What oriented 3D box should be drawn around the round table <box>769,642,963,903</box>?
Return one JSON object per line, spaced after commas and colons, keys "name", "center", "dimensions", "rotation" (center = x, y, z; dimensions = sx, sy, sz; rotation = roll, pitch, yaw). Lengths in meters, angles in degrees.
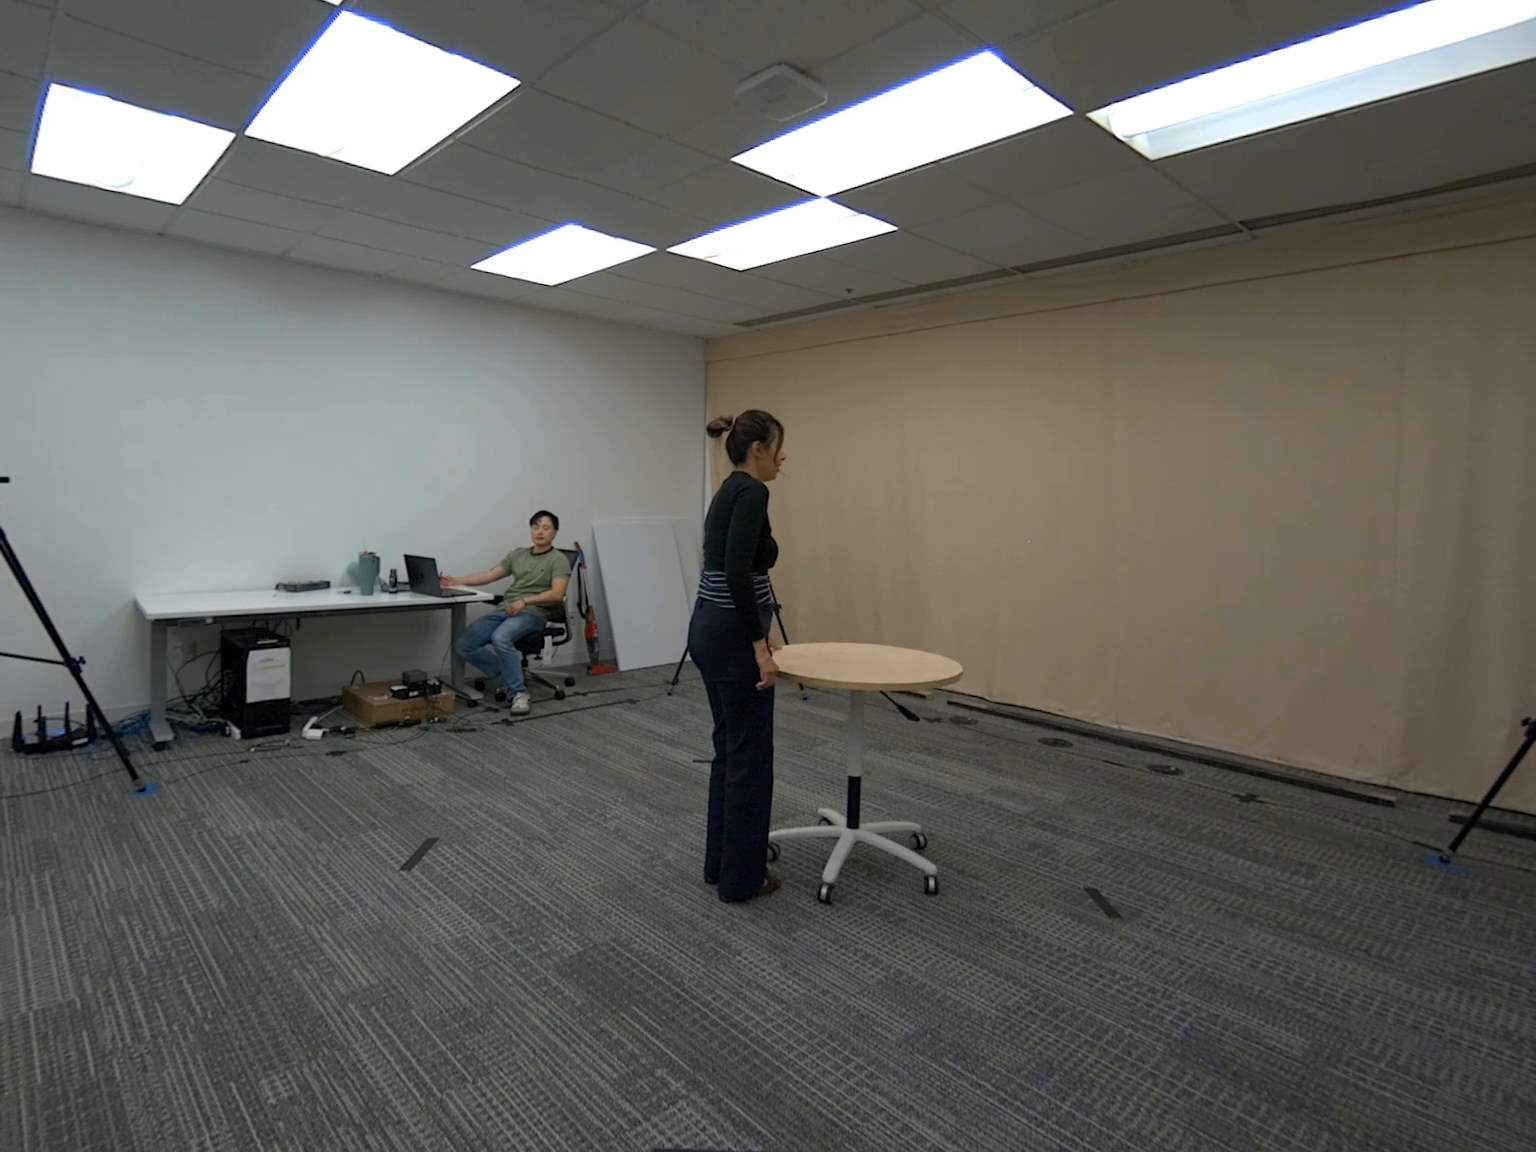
{"name": "round table", "center": [0.326, 0.715, 3.212], "dimensions": [0.763, 0.792, 0.766], "rotation": [2, 4, -1]}
